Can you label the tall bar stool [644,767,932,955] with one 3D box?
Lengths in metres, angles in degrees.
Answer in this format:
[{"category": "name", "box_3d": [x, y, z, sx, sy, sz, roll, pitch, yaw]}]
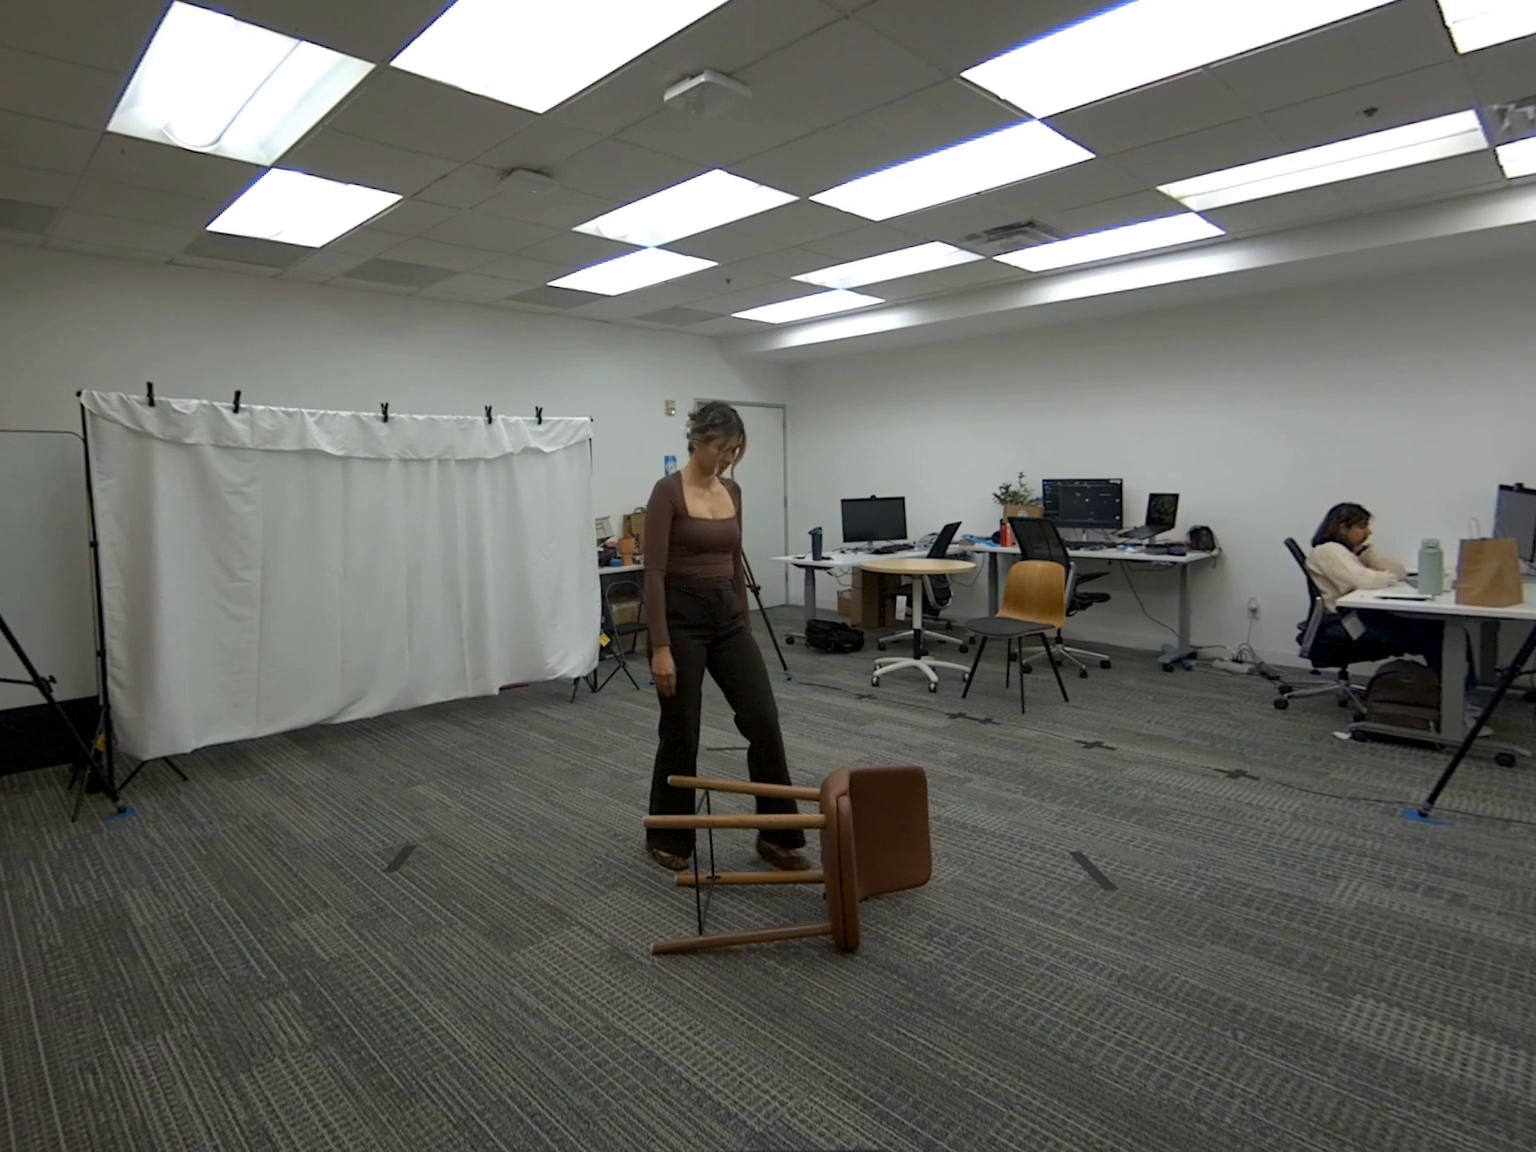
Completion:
[{"category": "tall bar stool", "box_3d": [0.099, 0.876, 2.691, 0.893, 0.456, 0.467, -3, 3, 4]}]
